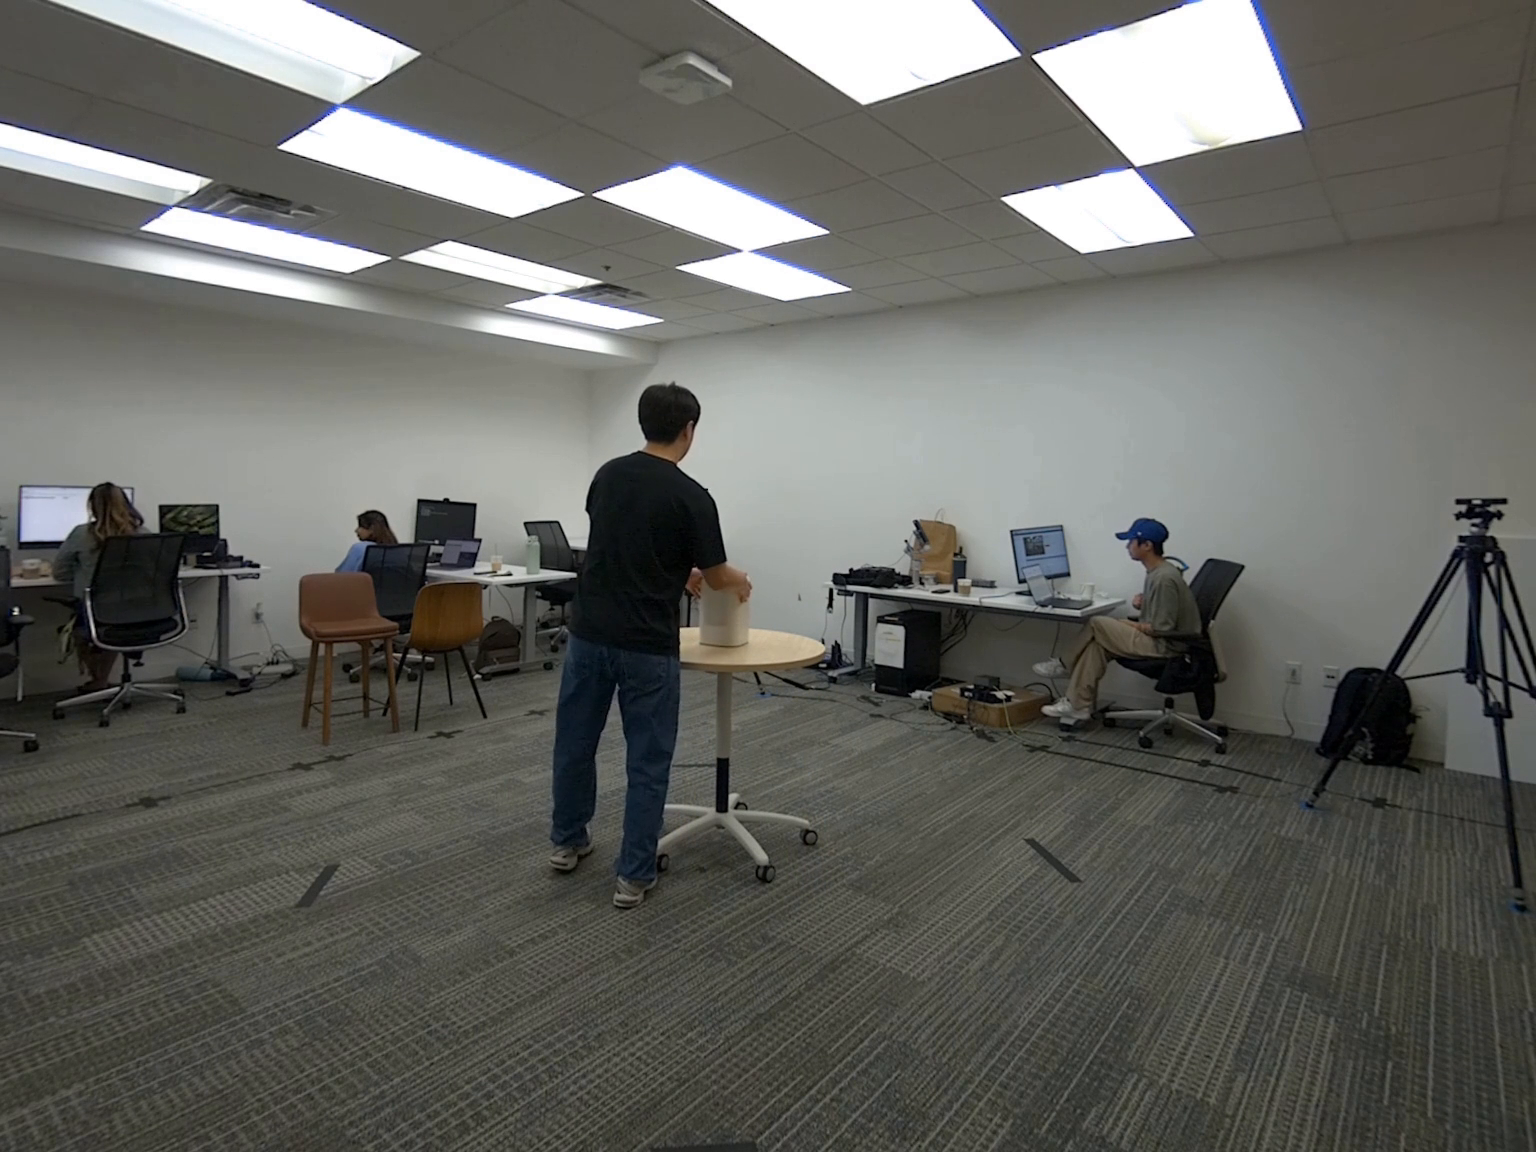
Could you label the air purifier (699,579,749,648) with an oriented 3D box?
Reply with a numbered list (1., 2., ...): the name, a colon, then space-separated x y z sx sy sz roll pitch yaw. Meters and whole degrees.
1. air purifier: -0.176 0.123 3.286 0.175 0.264 0.168 2 5 21
